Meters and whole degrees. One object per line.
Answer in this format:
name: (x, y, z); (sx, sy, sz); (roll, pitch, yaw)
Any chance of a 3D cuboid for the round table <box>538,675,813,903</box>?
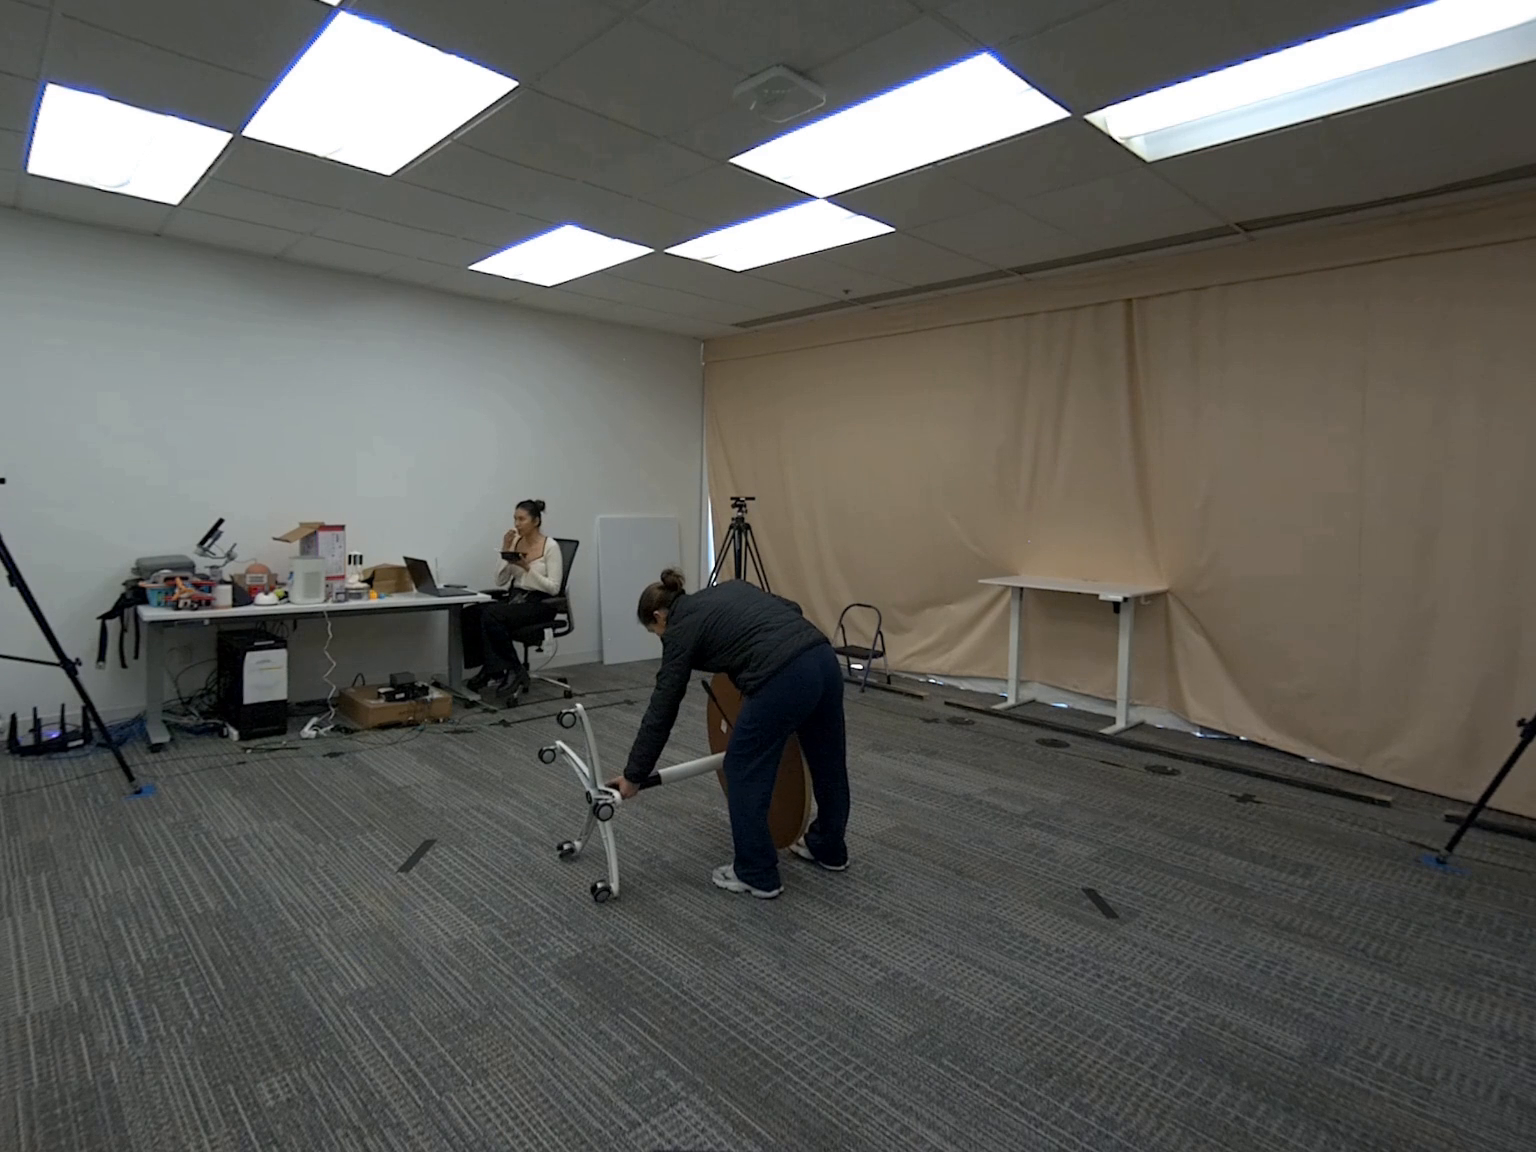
round table: (-0.376, 0.752, 3.179); (0.772, 0.781, 0.804); (-9, 9, -32)
